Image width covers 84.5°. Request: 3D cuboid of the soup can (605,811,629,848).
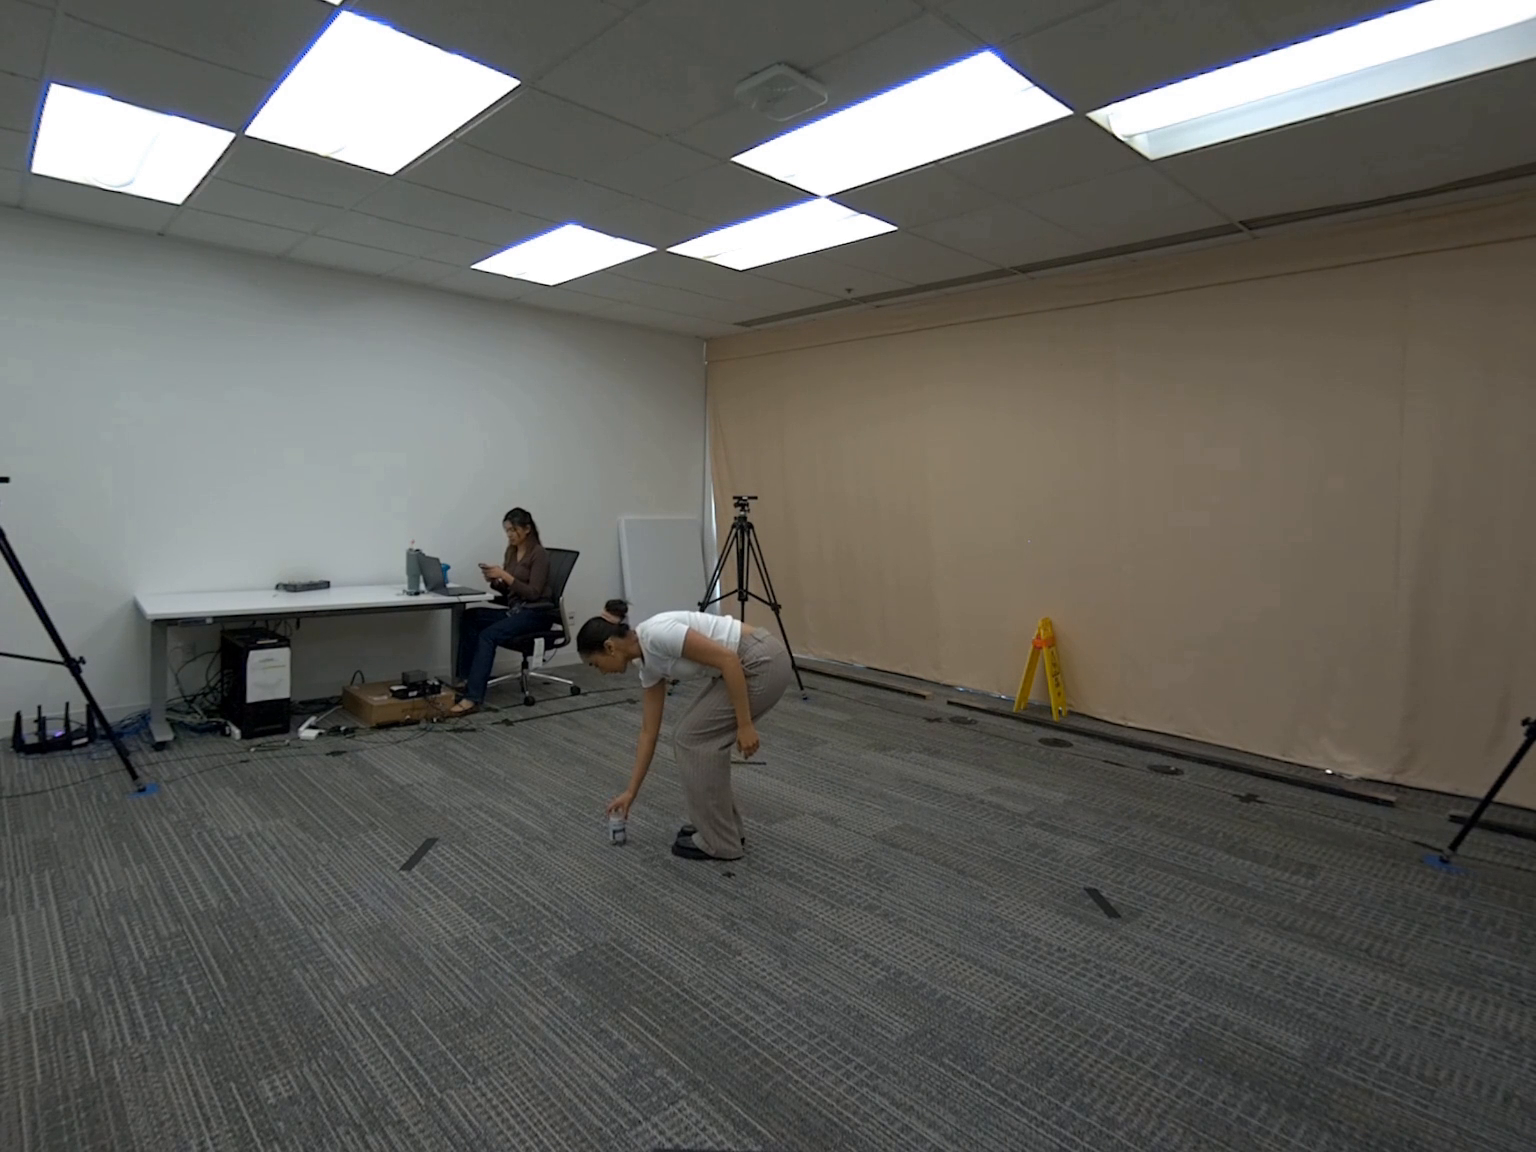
[{"bbox_3d":[-0.603,0.995,3.357,0.067,0.121,0.067,-1,3,-1],"label":"soup can"}]
